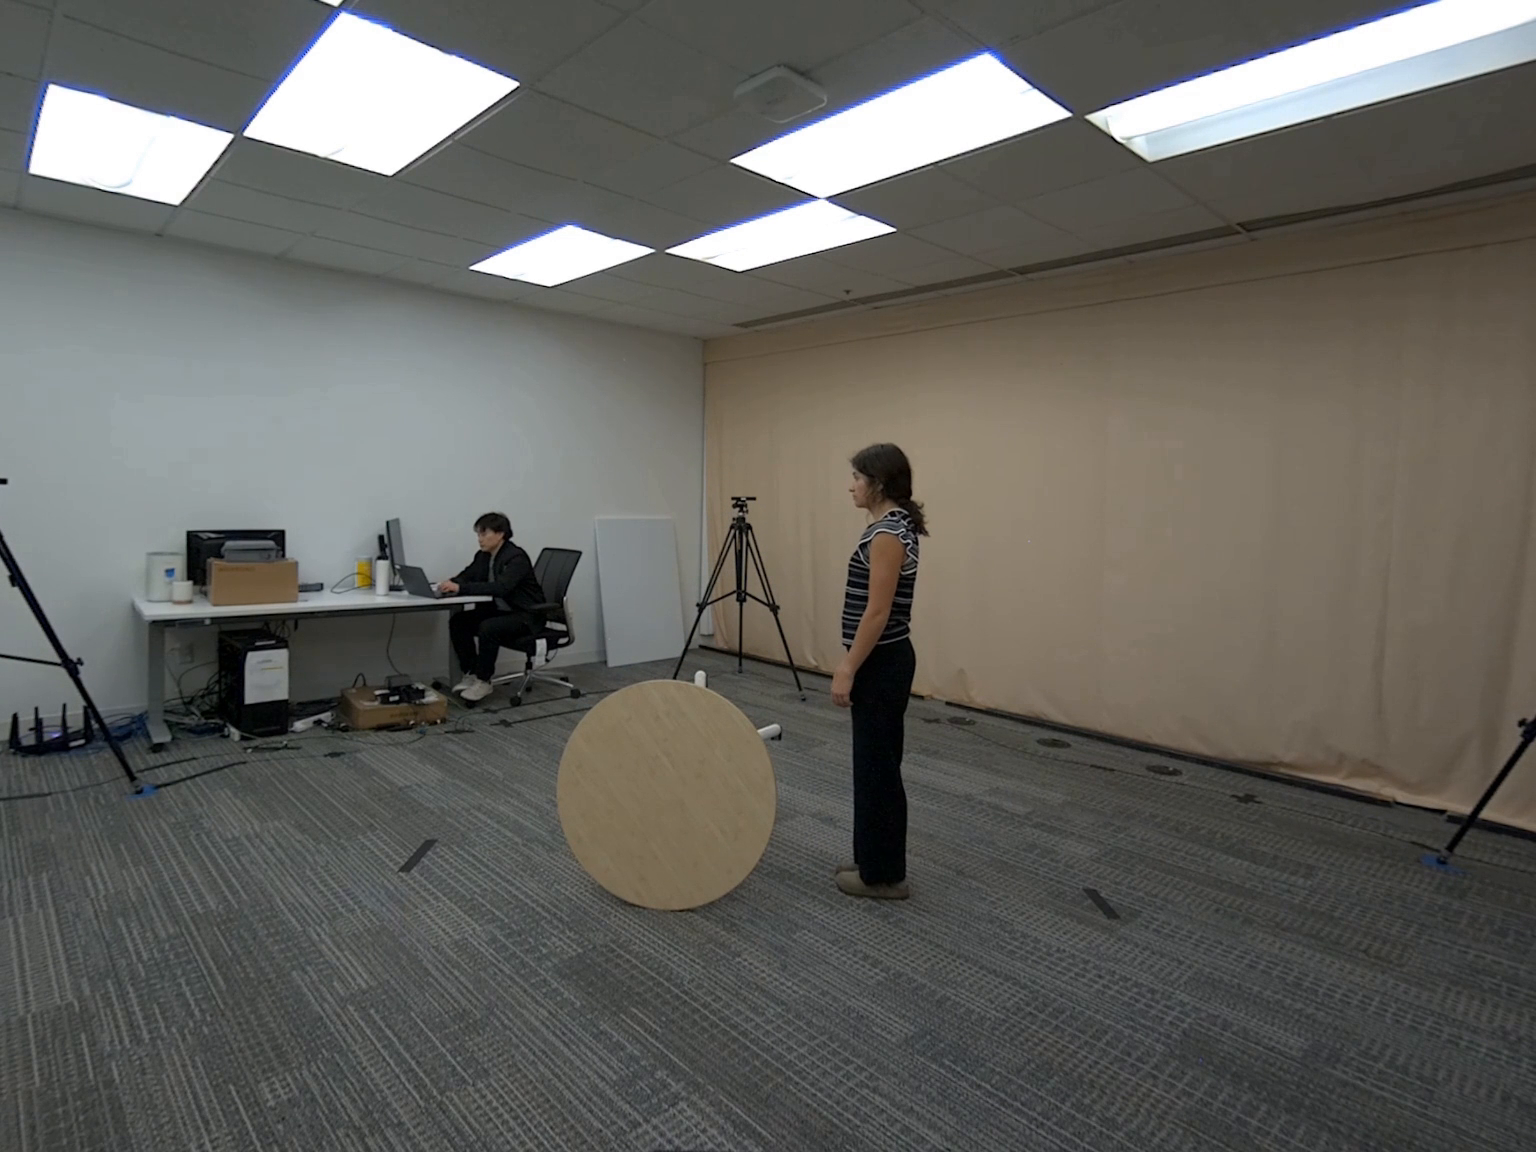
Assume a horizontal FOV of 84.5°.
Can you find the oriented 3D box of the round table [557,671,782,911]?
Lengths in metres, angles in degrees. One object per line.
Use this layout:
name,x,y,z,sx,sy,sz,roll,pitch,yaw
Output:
round table,-0.323,0.759,3.255,0.769,0.765,0.787,2,-2,7
